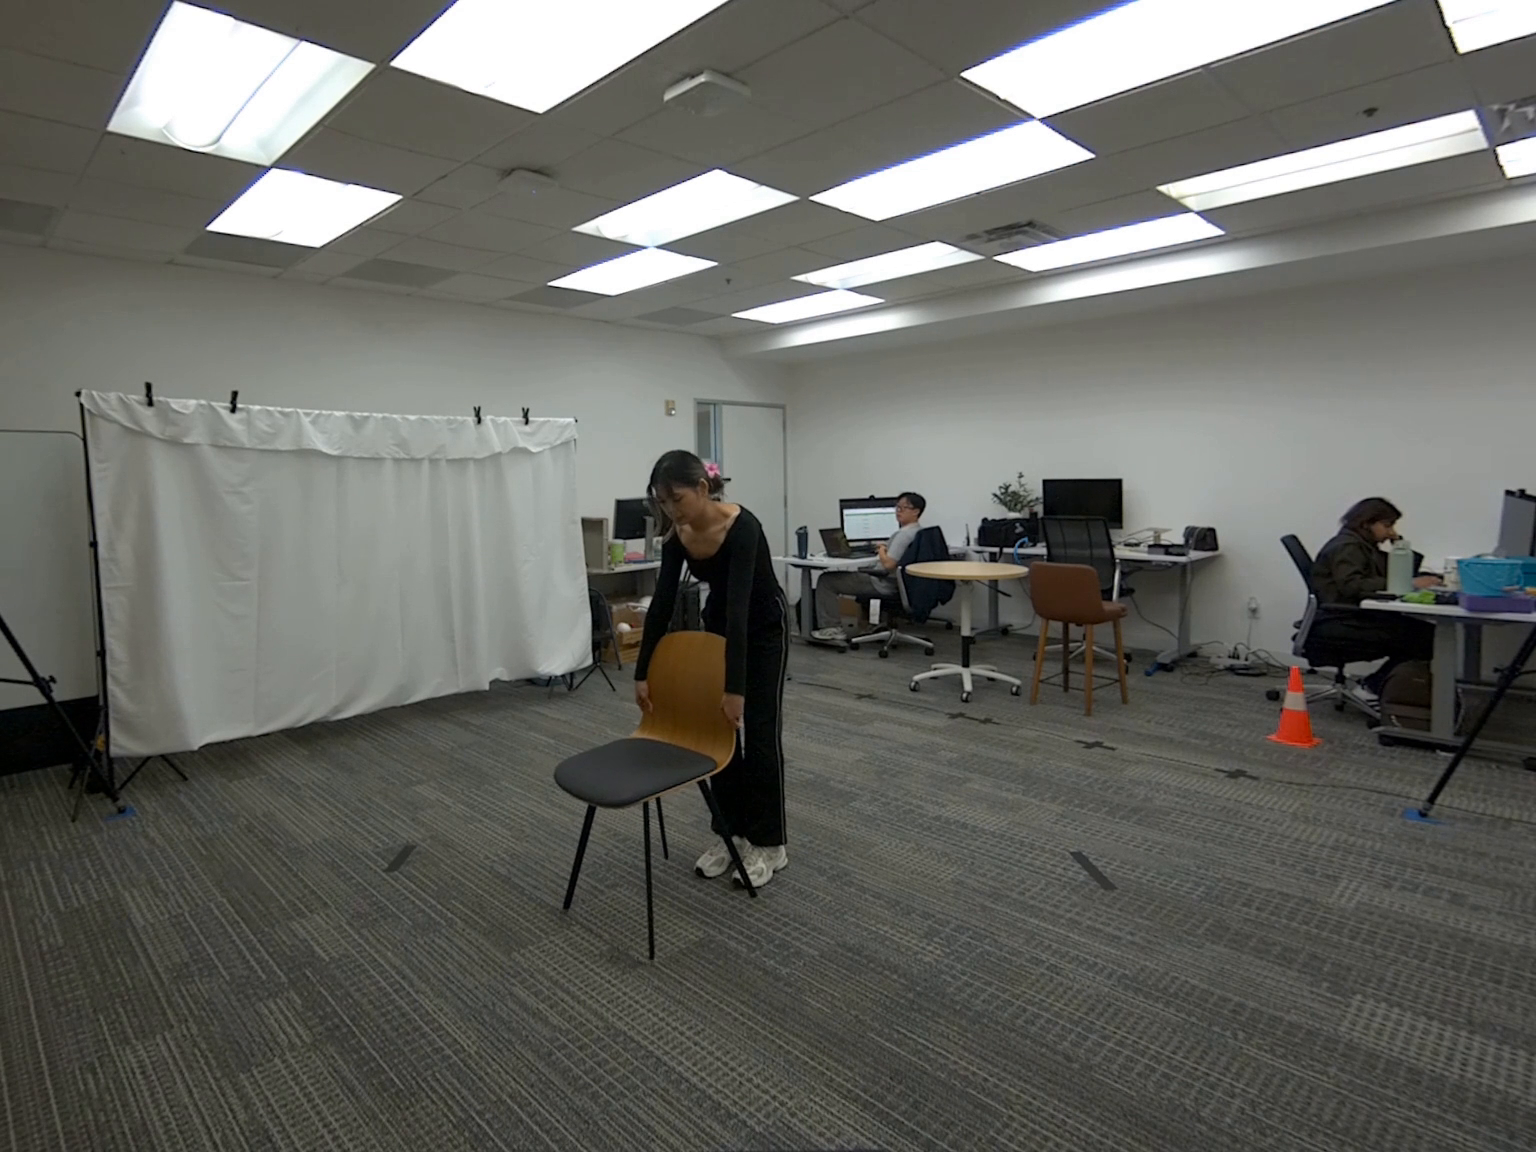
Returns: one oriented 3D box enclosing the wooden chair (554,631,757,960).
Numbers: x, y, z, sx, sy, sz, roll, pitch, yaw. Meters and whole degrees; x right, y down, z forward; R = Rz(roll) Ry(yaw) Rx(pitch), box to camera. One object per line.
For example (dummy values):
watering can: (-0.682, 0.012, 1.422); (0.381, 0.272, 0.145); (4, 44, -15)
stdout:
wooden chair: (-0.377, 0.644, 2.731); (0.493, 0.876, 0.508); (3, 3, 43)
